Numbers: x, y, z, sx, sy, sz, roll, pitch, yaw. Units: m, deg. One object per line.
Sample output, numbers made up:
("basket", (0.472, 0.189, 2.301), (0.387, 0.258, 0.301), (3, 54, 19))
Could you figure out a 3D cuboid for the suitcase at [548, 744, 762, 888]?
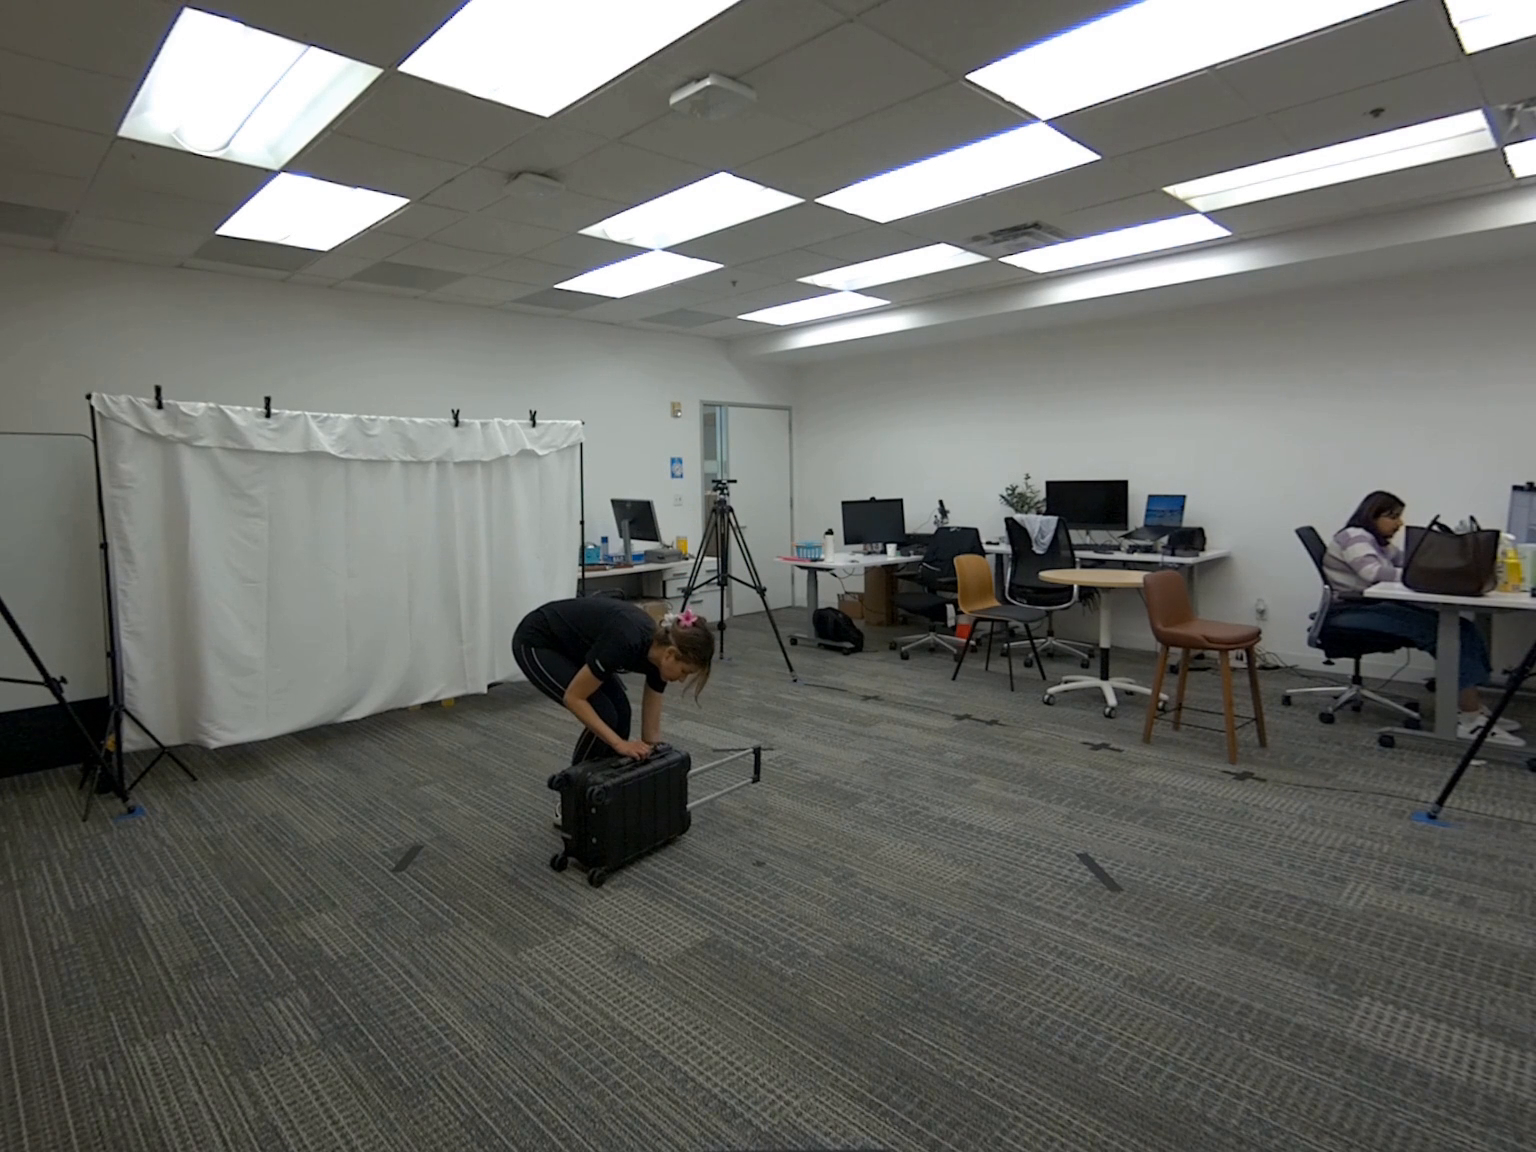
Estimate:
("suitcase", (-0.409, 0.840, 3.372), (0.264, 0.382, 0.955), (2, 7, 35))
